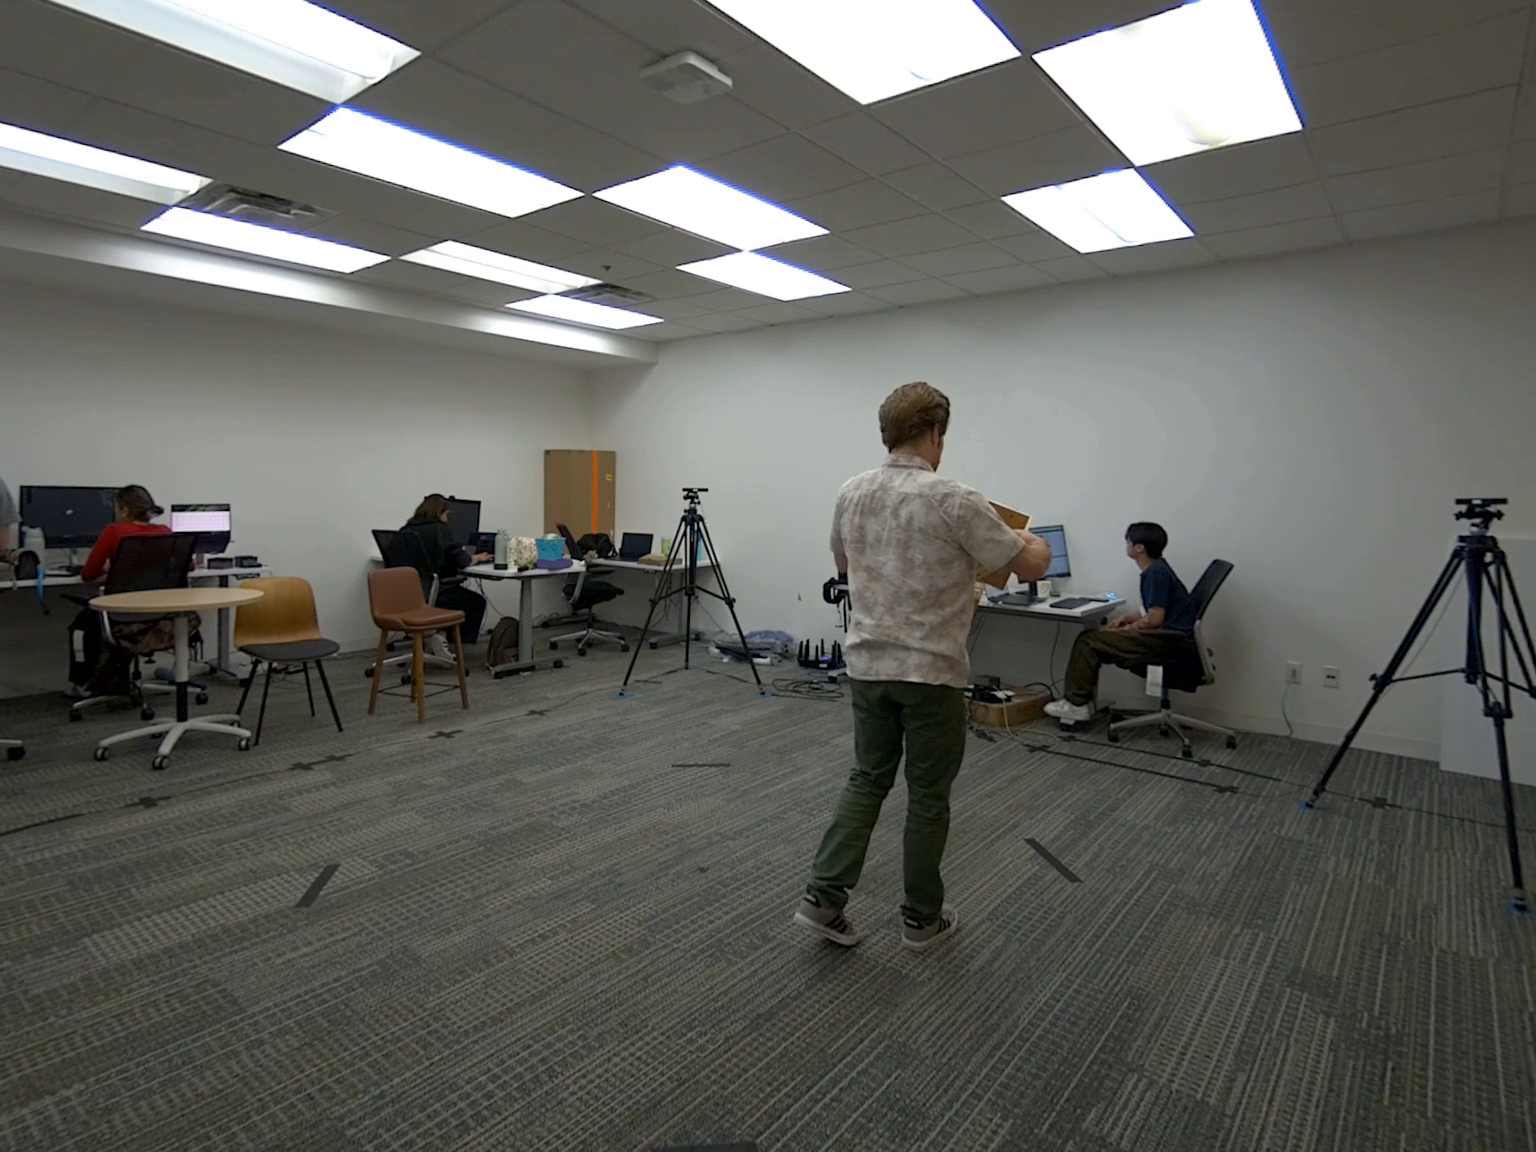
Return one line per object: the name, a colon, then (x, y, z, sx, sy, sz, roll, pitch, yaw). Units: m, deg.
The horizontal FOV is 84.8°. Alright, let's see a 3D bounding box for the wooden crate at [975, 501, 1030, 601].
wooden crate: (0.656, -0.080, 2.842, 0.308, 0.267, 0.326, 23, 45, 13)
